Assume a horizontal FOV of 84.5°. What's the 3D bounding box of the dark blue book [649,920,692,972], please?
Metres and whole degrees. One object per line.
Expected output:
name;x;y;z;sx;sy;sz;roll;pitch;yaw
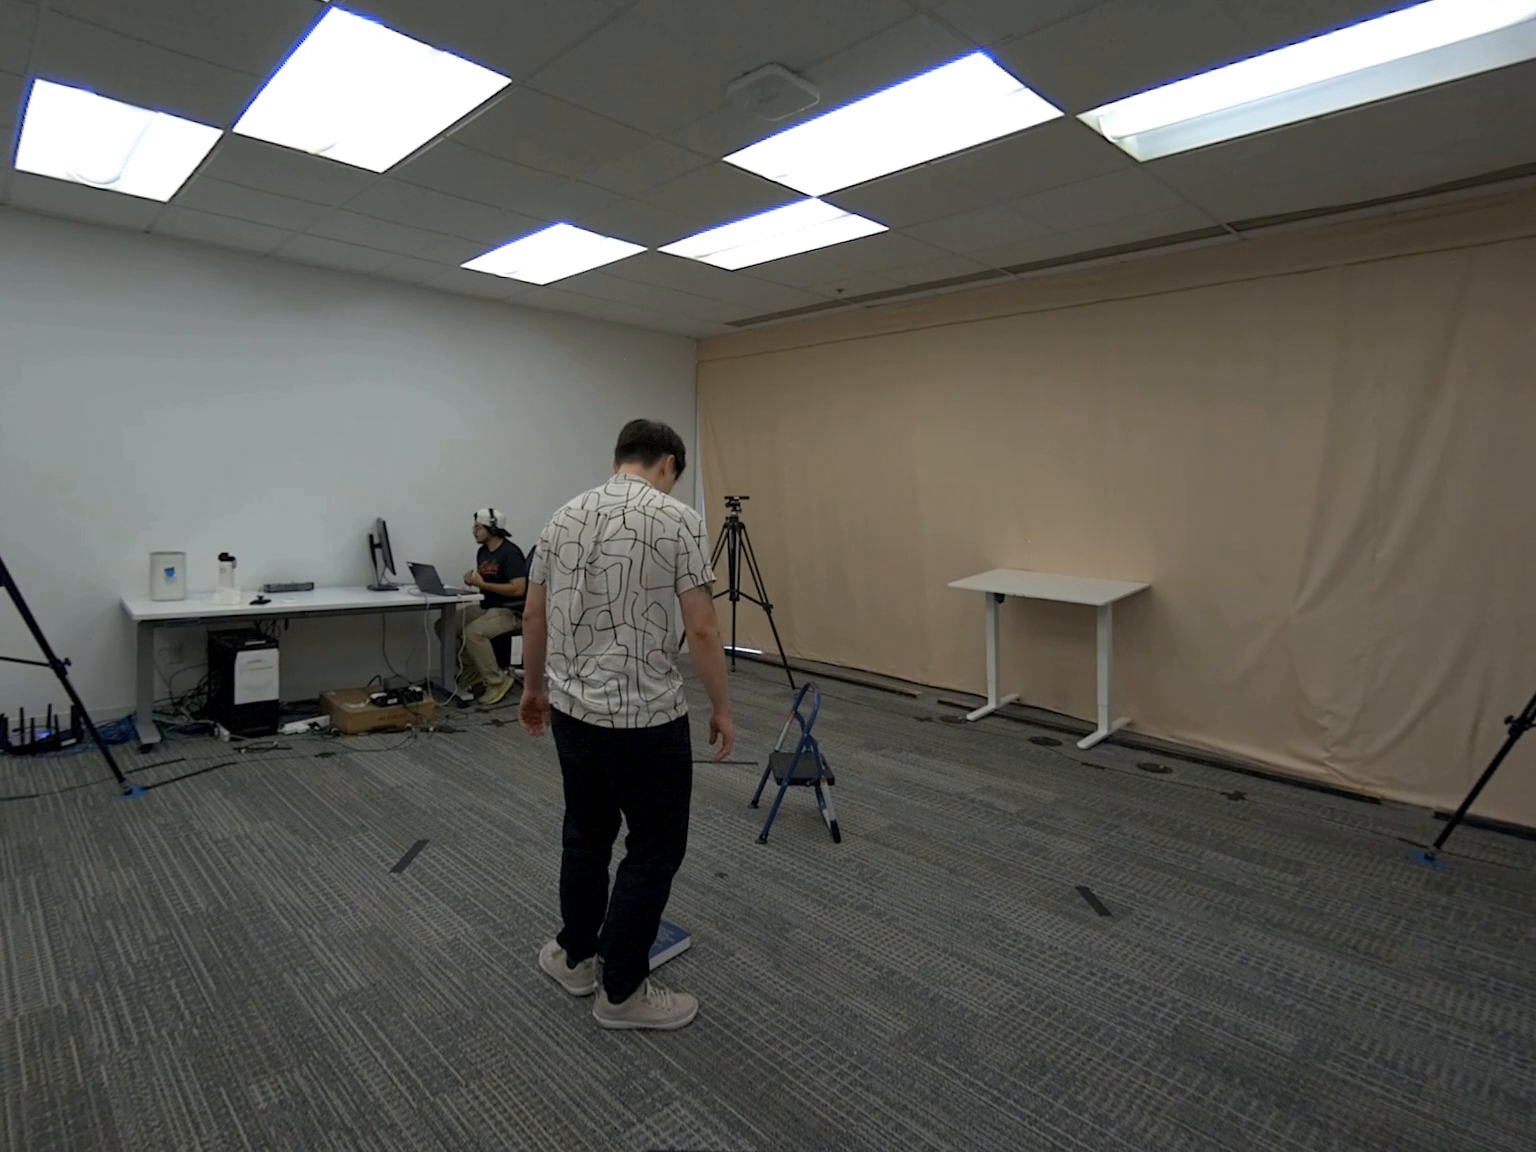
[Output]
dark blue book;-0.375;1.129;2.543;0.167;0.045;0.240;5;6;38
